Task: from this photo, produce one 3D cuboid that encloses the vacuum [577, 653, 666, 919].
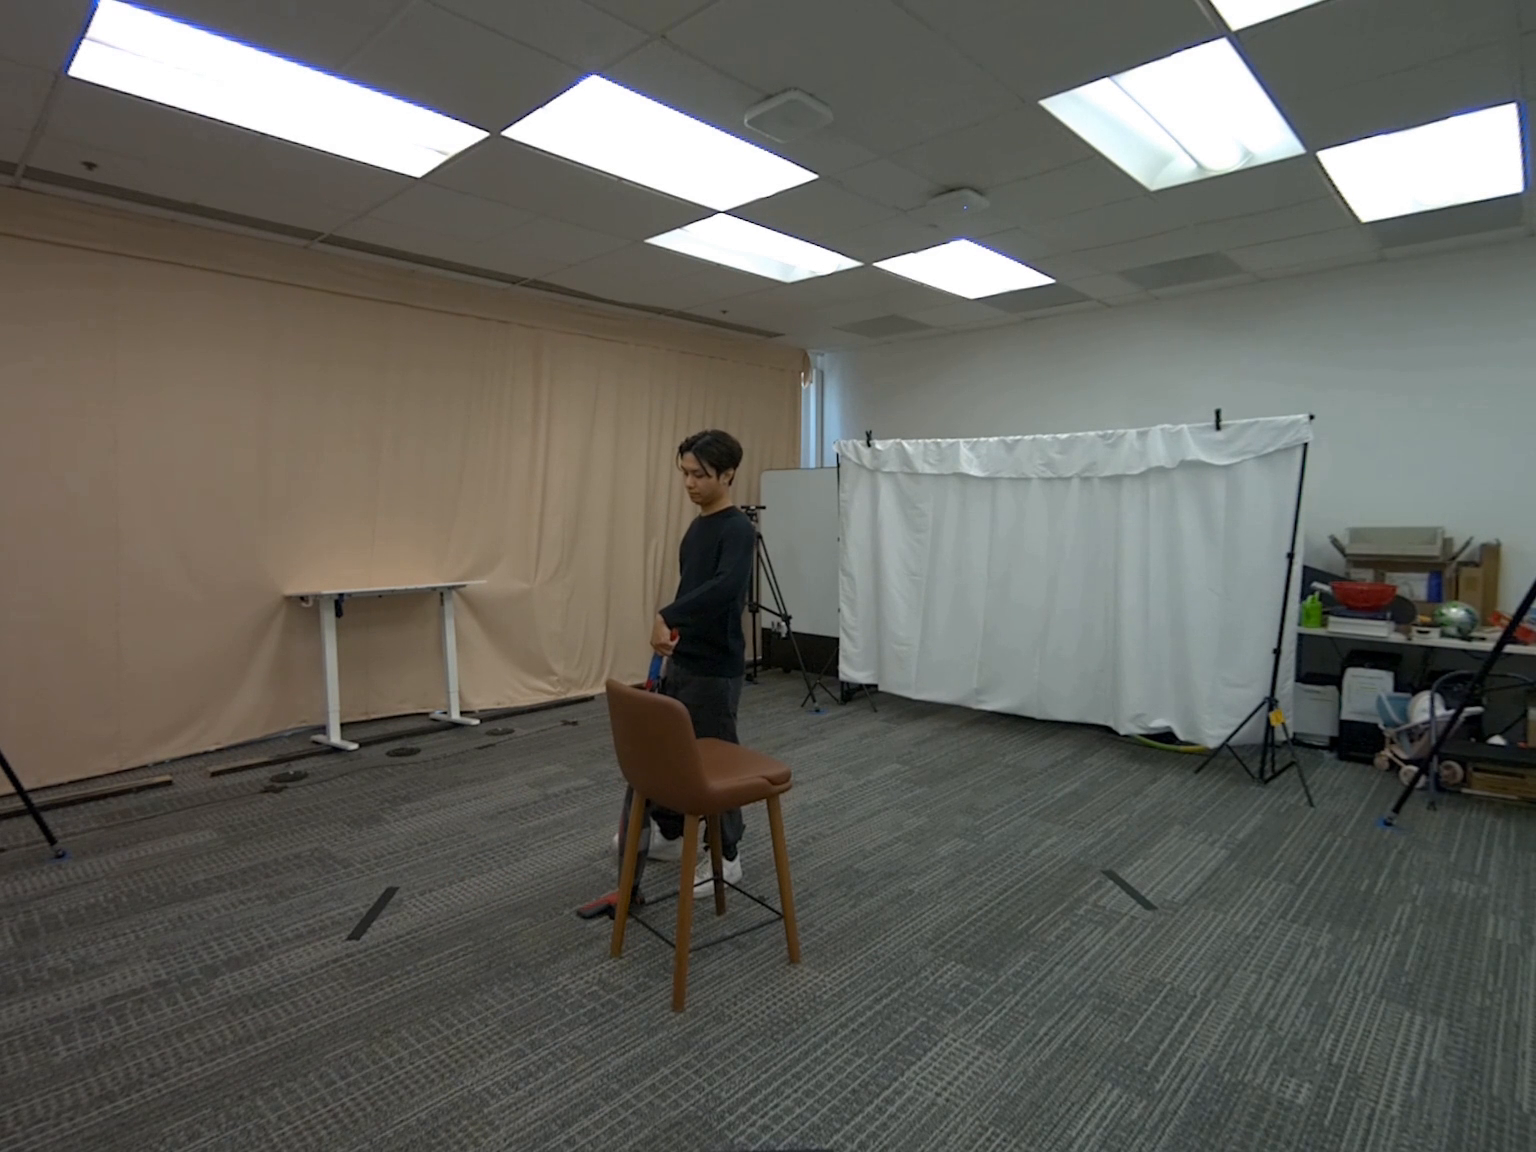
[{"bbox_3d":[-0.418,0.656,2.779,0.245,1.043,0.149,-3,20,-45],"label":"vacuum"}]
